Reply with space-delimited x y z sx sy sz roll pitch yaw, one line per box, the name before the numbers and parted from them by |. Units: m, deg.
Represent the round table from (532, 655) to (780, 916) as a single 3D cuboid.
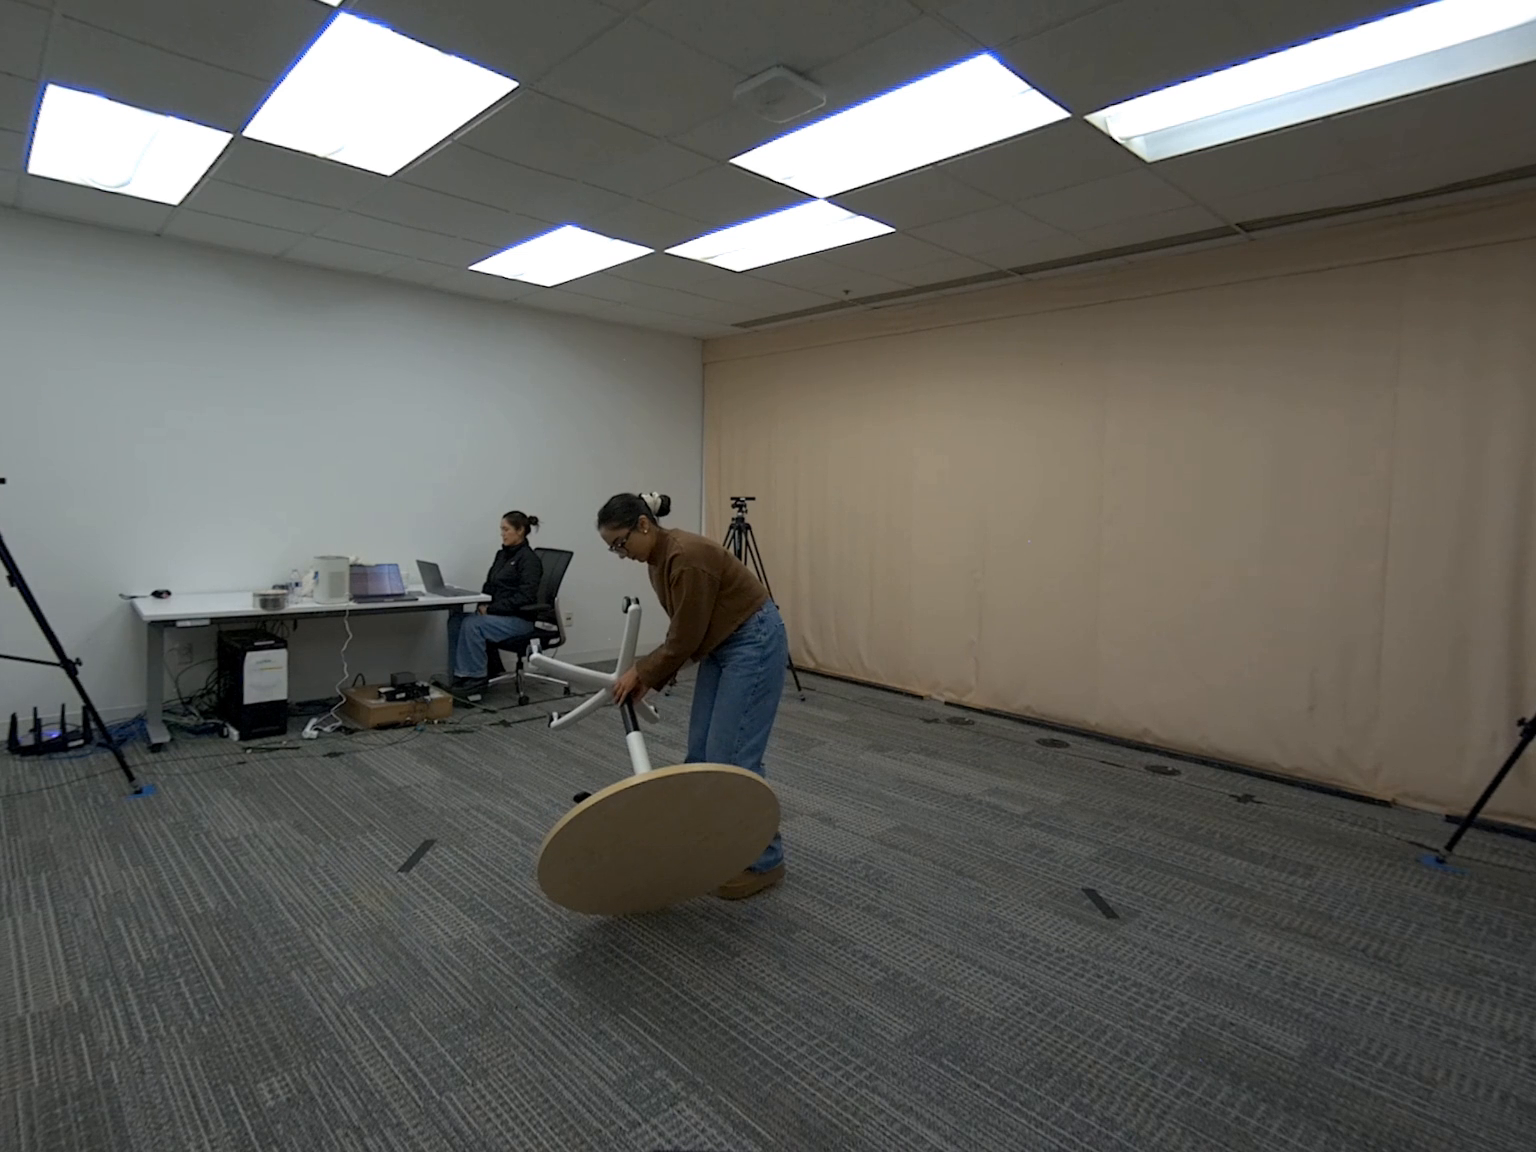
round table | -0.459 0.579 2.870 0.751 0.753 0.818 0 40 -23
